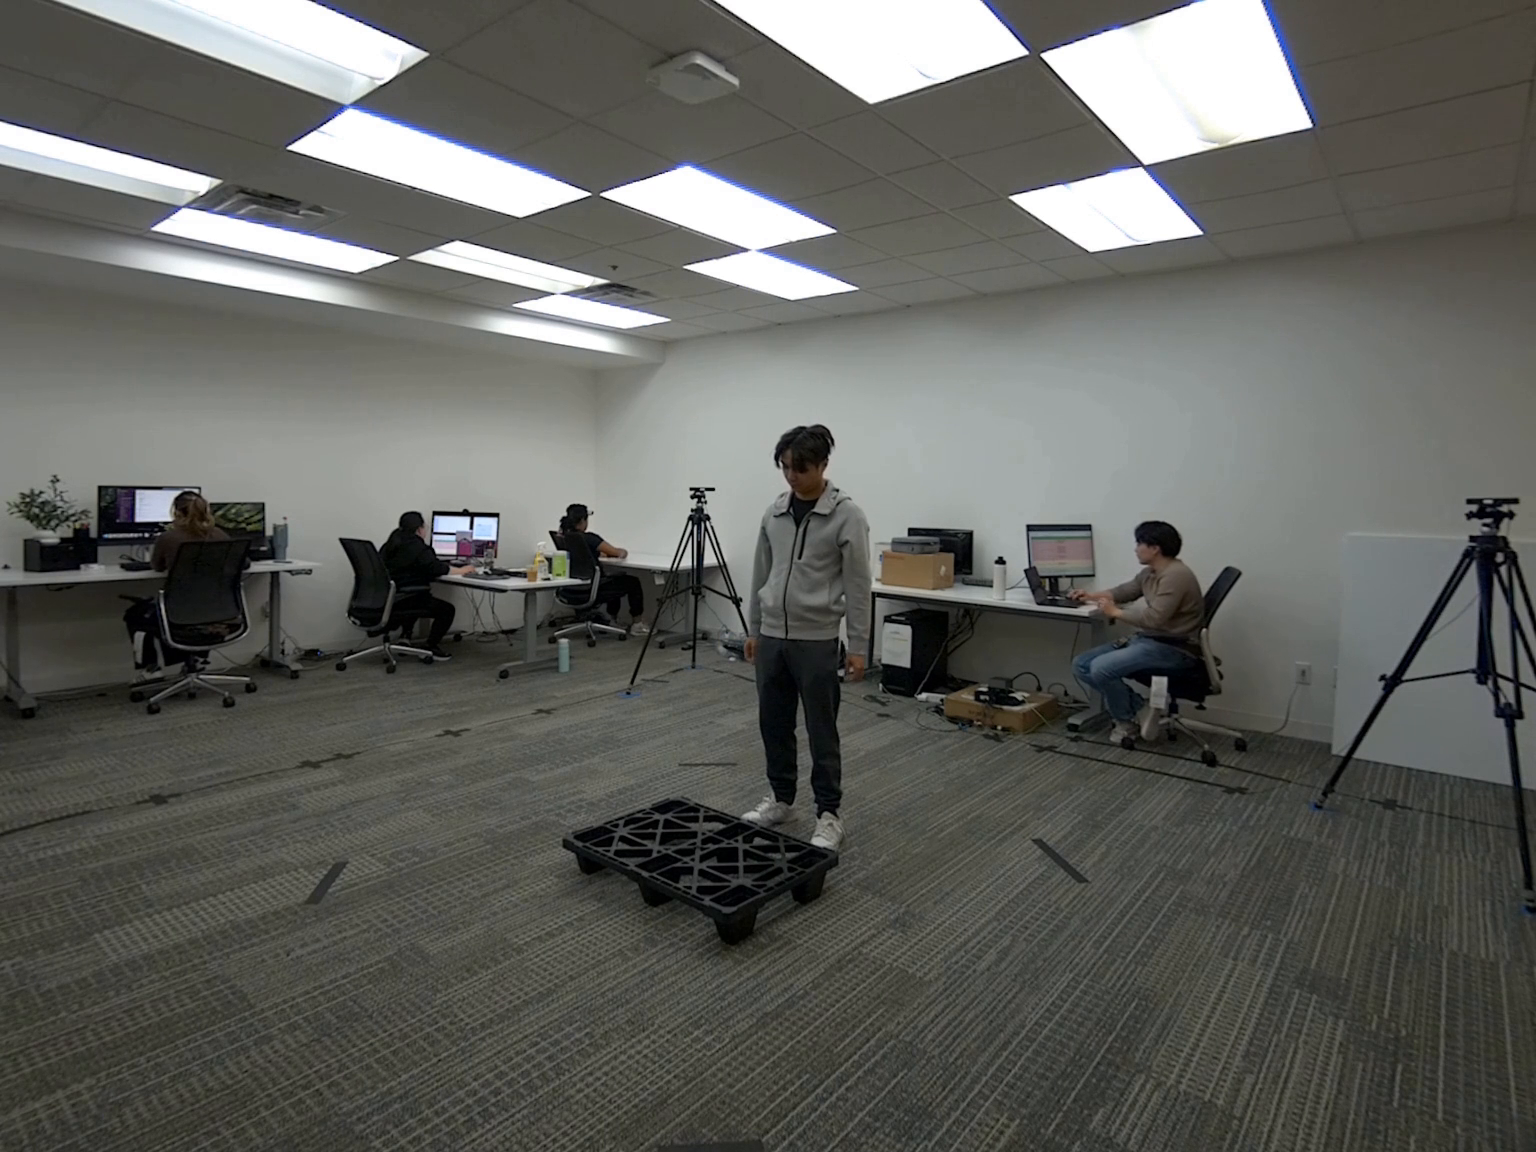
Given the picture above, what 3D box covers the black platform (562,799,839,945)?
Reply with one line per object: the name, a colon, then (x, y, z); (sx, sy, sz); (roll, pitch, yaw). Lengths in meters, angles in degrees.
black platform: (-0.258, 1.010, 3.000); (0.833, 0.143, 0.587); (6, 7, 40)
